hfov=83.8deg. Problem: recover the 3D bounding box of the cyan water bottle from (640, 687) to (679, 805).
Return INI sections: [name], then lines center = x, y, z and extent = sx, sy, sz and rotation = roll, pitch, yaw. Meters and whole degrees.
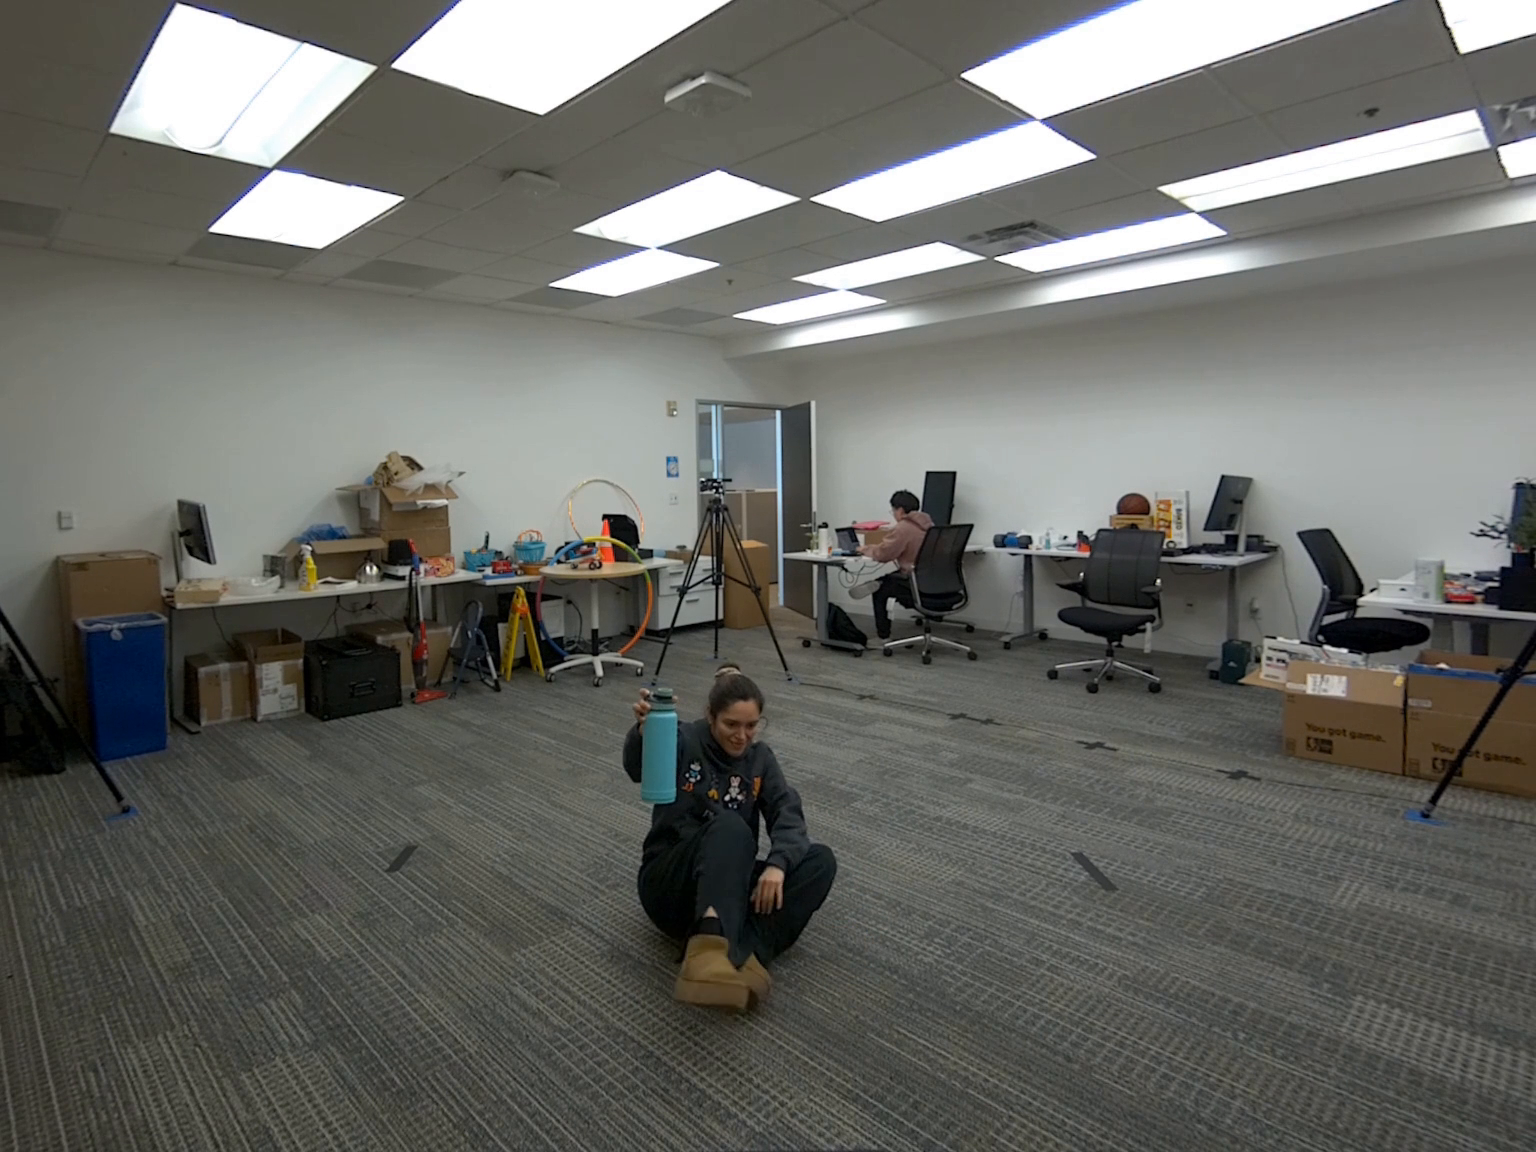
[cyan water bottle]
center = -0.275, 0.440, 2.193
extent = 0.092, 0.284, 0.092
rotation = 2, -2, -2
